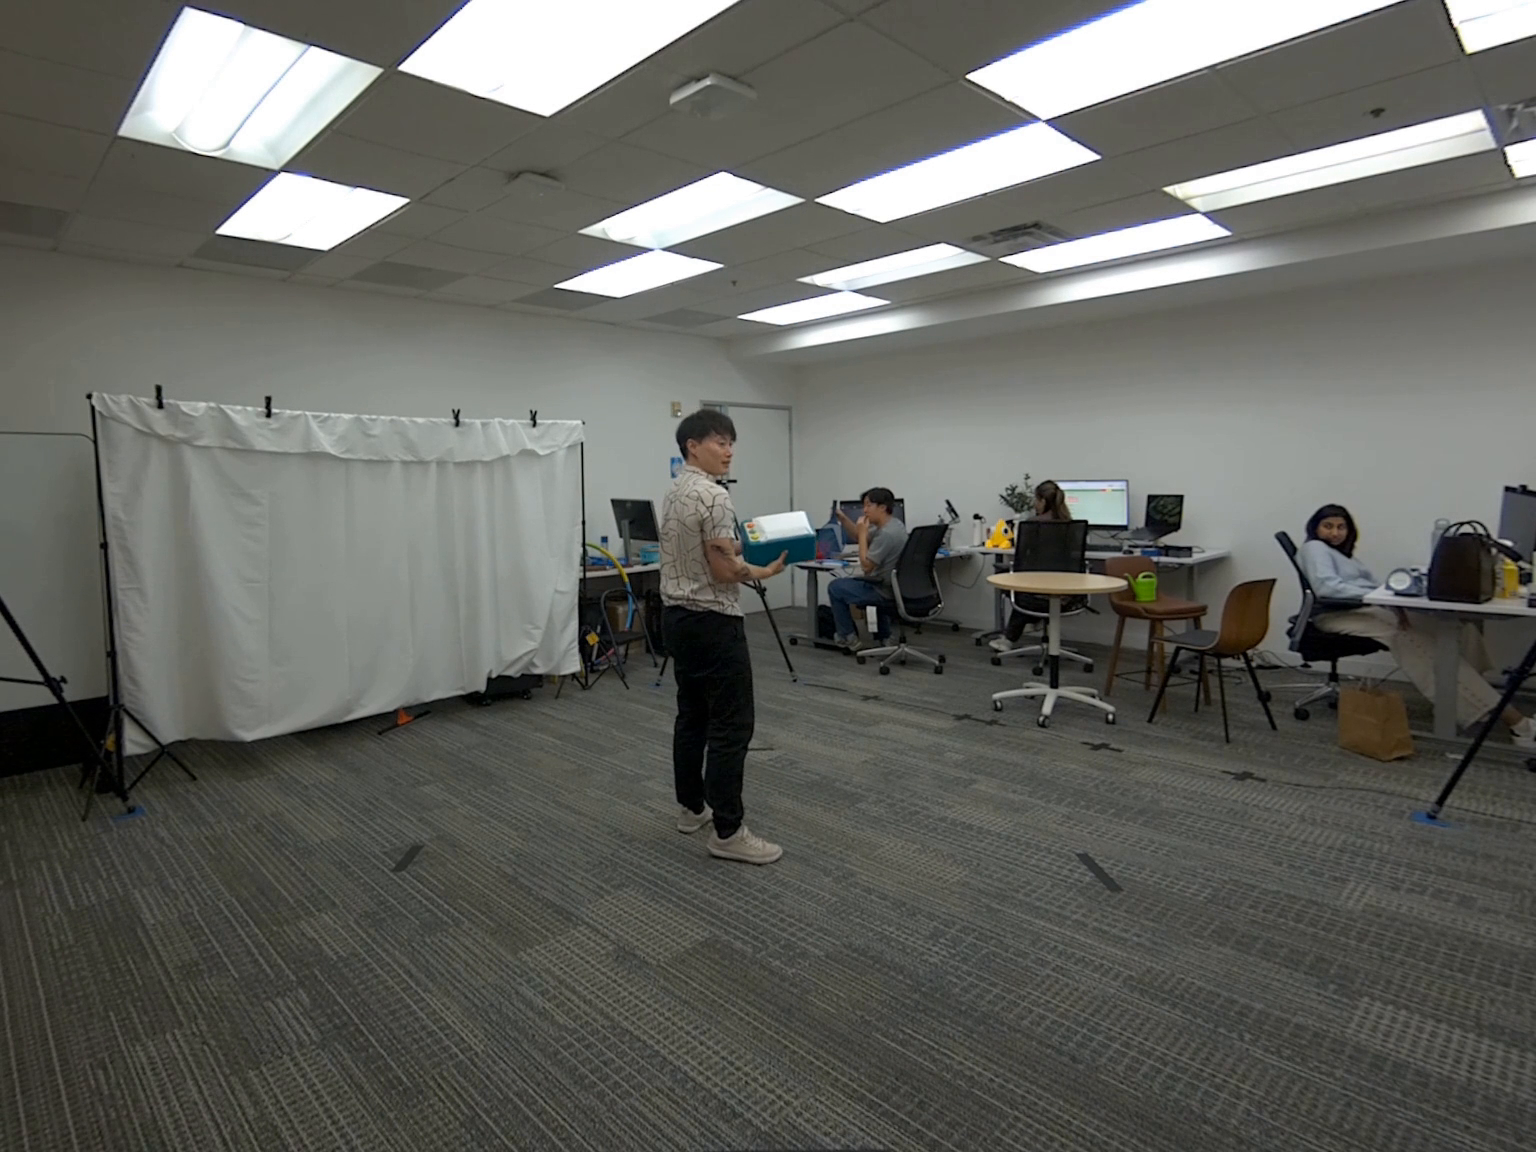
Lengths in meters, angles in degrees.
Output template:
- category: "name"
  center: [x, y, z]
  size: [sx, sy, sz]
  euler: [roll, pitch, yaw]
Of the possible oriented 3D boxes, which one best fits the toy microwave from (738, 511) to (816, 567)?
- category: "toy microwave"
  center: [0.040, -0.152, 3.417]
  size: [0.284, 0.148, 0.190]
  euler: [-8, 37, -8]
